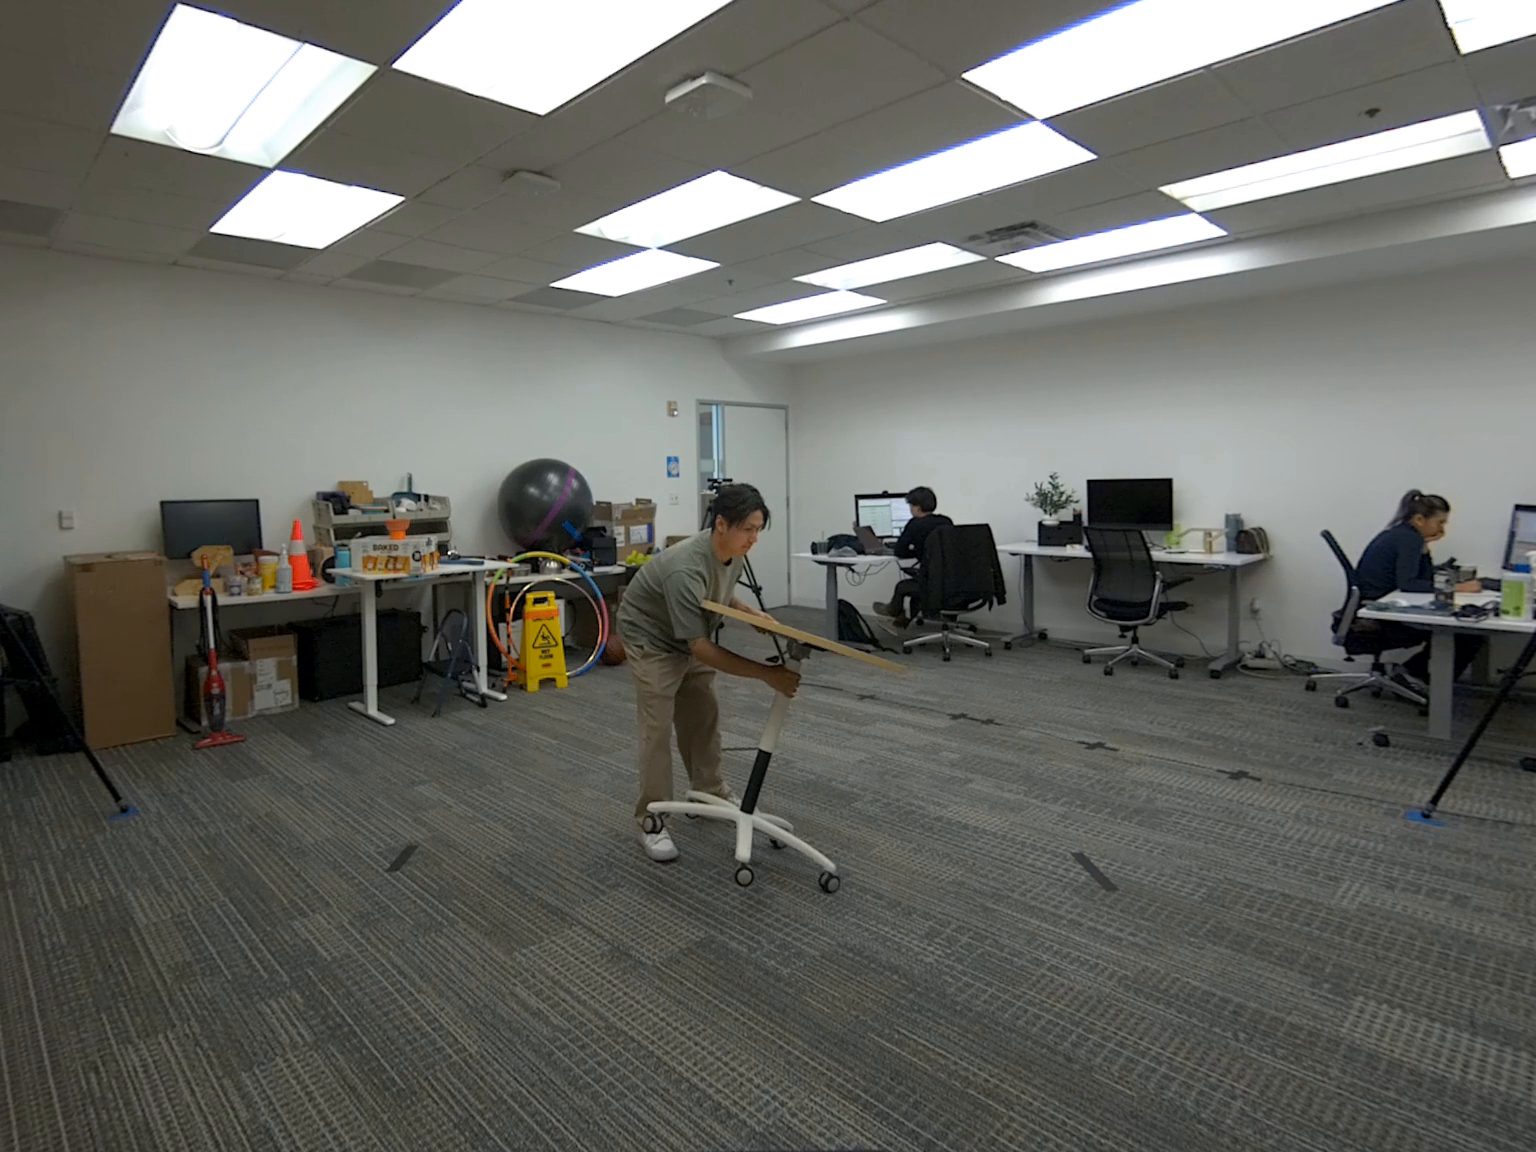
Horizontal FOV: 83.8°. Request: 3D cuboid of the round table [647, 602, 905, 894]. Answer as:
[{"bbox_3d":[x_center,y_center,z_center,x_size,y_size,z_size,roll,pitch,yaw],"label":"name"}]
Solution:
[{"bbox_3d":[0.017,0.587,3.030,0.786,0.788,0.783,18,-3,-1],"label":"round table"}]
